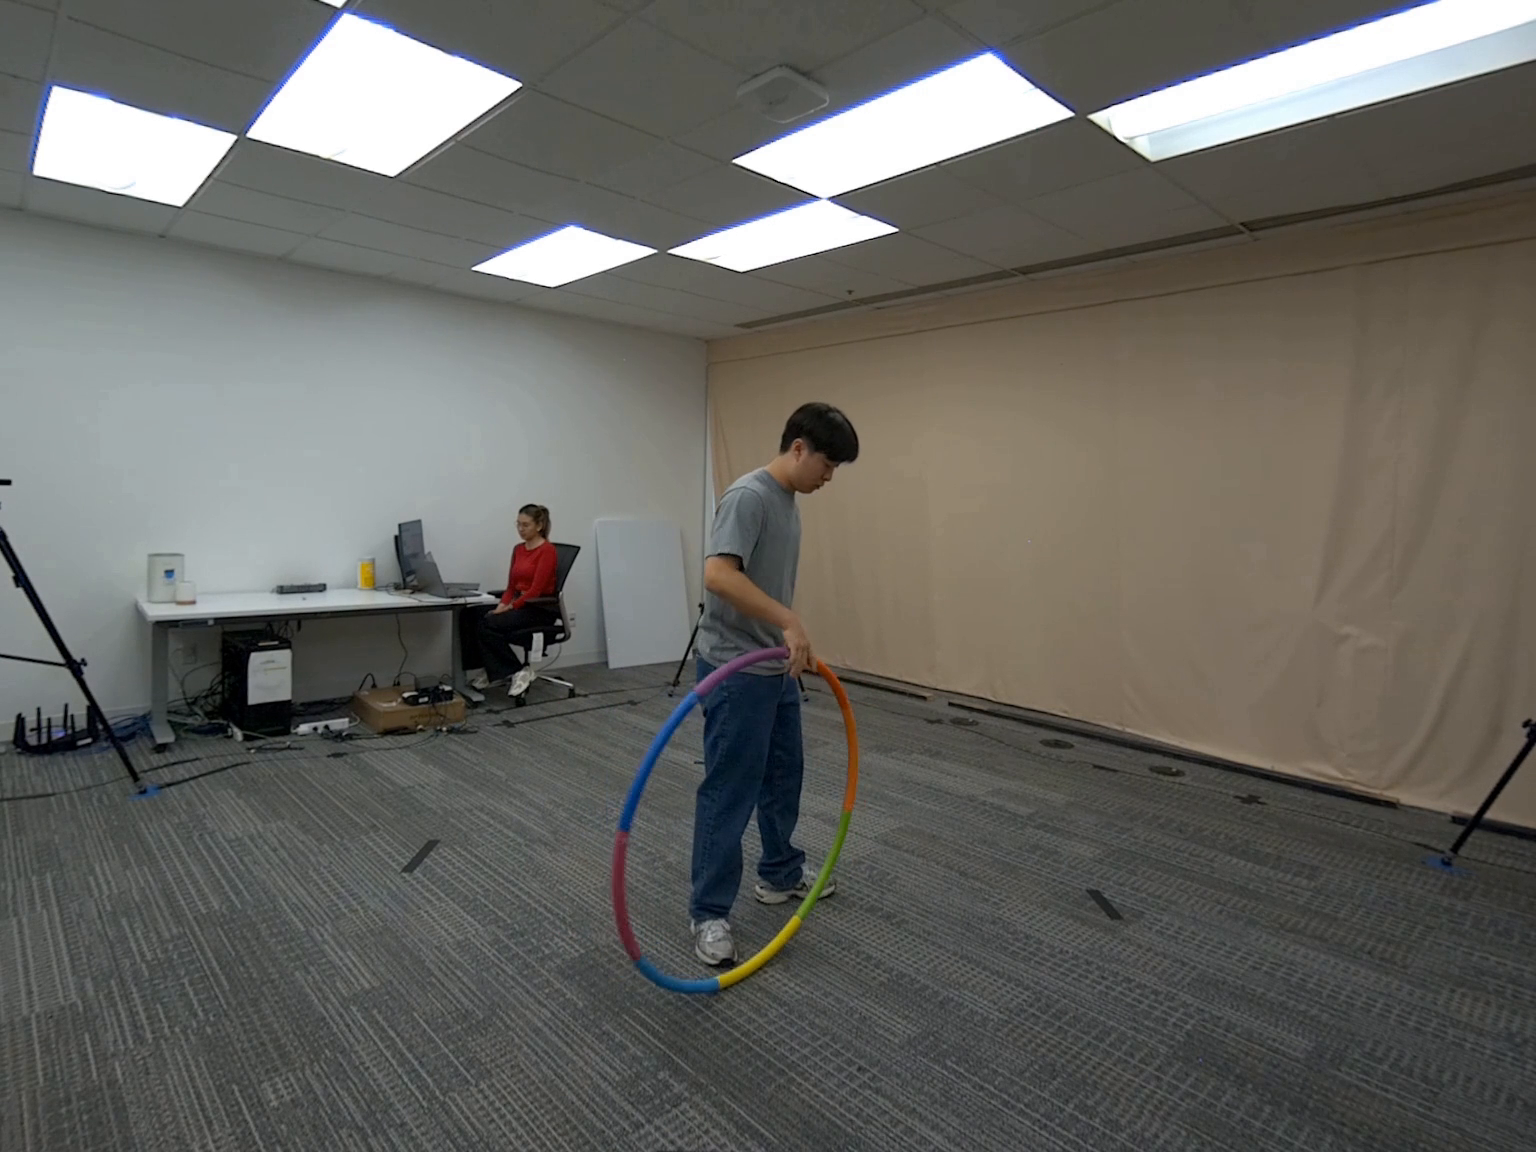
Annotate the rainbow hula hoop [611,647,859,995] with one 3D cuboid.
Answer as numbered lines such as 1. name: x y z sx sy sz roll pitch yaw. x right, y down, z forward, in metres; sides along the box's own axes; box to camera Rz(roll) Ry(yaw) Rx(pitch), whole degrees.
1. rainbow hula hoop: -0.066 0.688 2.392 0.036 0.974 0.956 10 9 42
